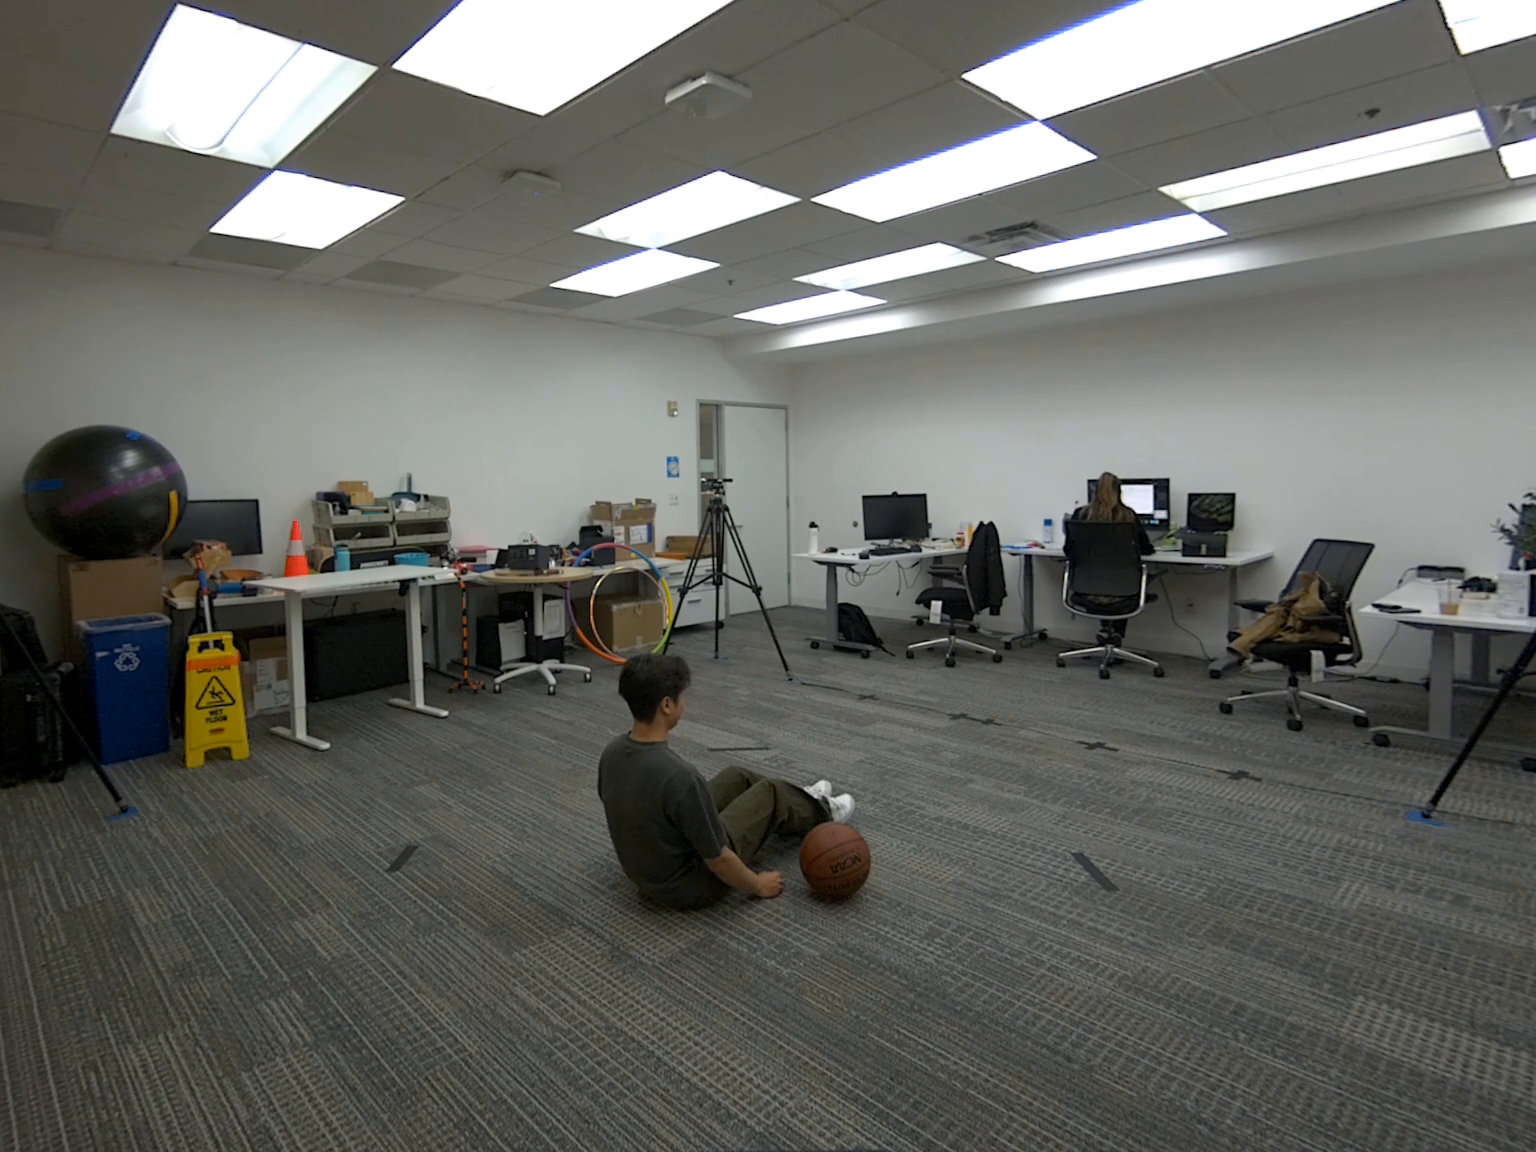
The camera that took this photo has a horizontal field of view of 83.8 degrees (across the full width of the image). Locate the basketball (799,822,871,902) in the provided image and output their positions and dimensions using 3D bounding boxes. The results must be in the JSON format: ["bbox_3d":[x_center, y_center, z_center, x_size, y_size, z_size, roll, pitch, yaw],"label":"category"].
[{"bbox_3d":[0.223,0.941,2.859,0.236,0.235,0.237,-1,5,-2],"label":"basketball"}]
